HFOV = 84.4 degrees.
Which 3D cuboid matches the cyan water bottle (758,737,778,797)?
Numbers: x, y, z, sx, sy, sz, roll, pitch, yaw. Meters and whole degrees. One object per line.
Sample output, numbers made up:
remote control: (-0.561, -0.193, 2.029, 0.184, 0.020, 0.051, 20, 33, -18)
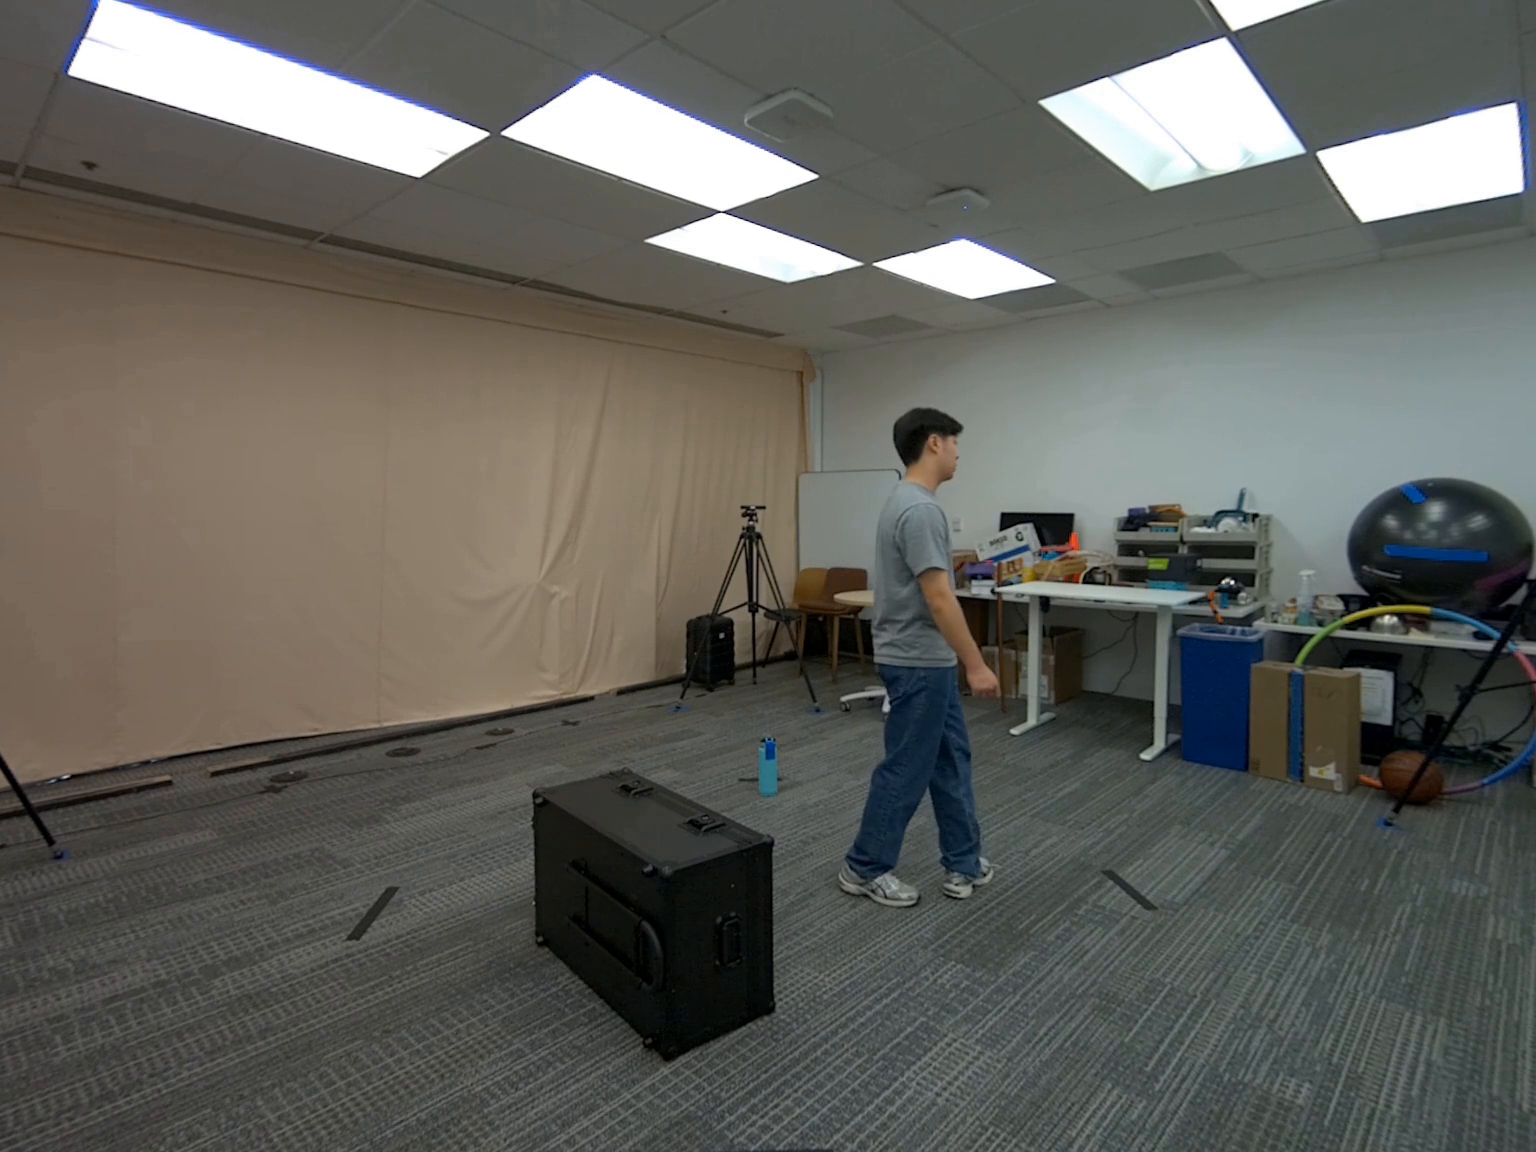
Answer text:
cyan water bottle: (0.003, 0.915, 4.094, 0.092, 0.283, 0.092, 1, 3, -2)
